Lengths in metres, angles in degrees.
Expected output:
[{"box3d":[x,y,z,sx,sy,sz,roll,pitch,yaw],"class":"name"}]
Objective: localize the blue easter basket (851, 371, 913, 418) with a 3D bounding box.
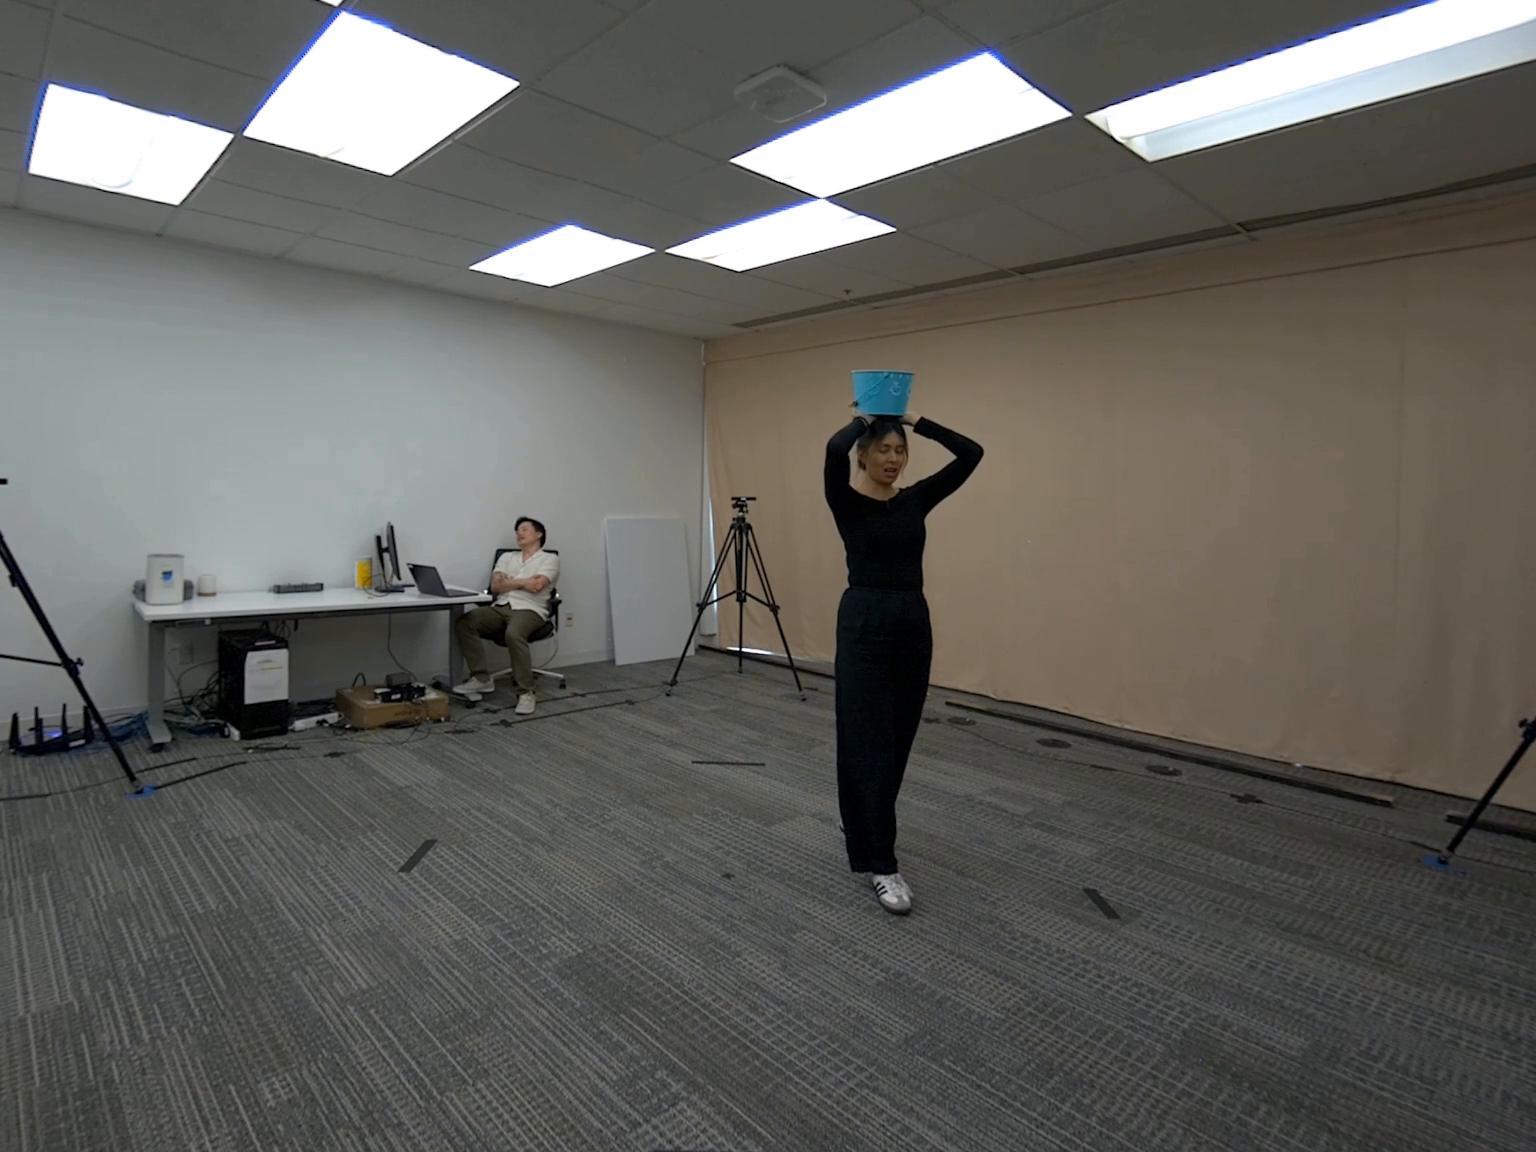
[{"box3d":[0.409,-0.664,3.083,0.243,0.155,0.245,3,9,-2],"class":"blue easter basket"}]
